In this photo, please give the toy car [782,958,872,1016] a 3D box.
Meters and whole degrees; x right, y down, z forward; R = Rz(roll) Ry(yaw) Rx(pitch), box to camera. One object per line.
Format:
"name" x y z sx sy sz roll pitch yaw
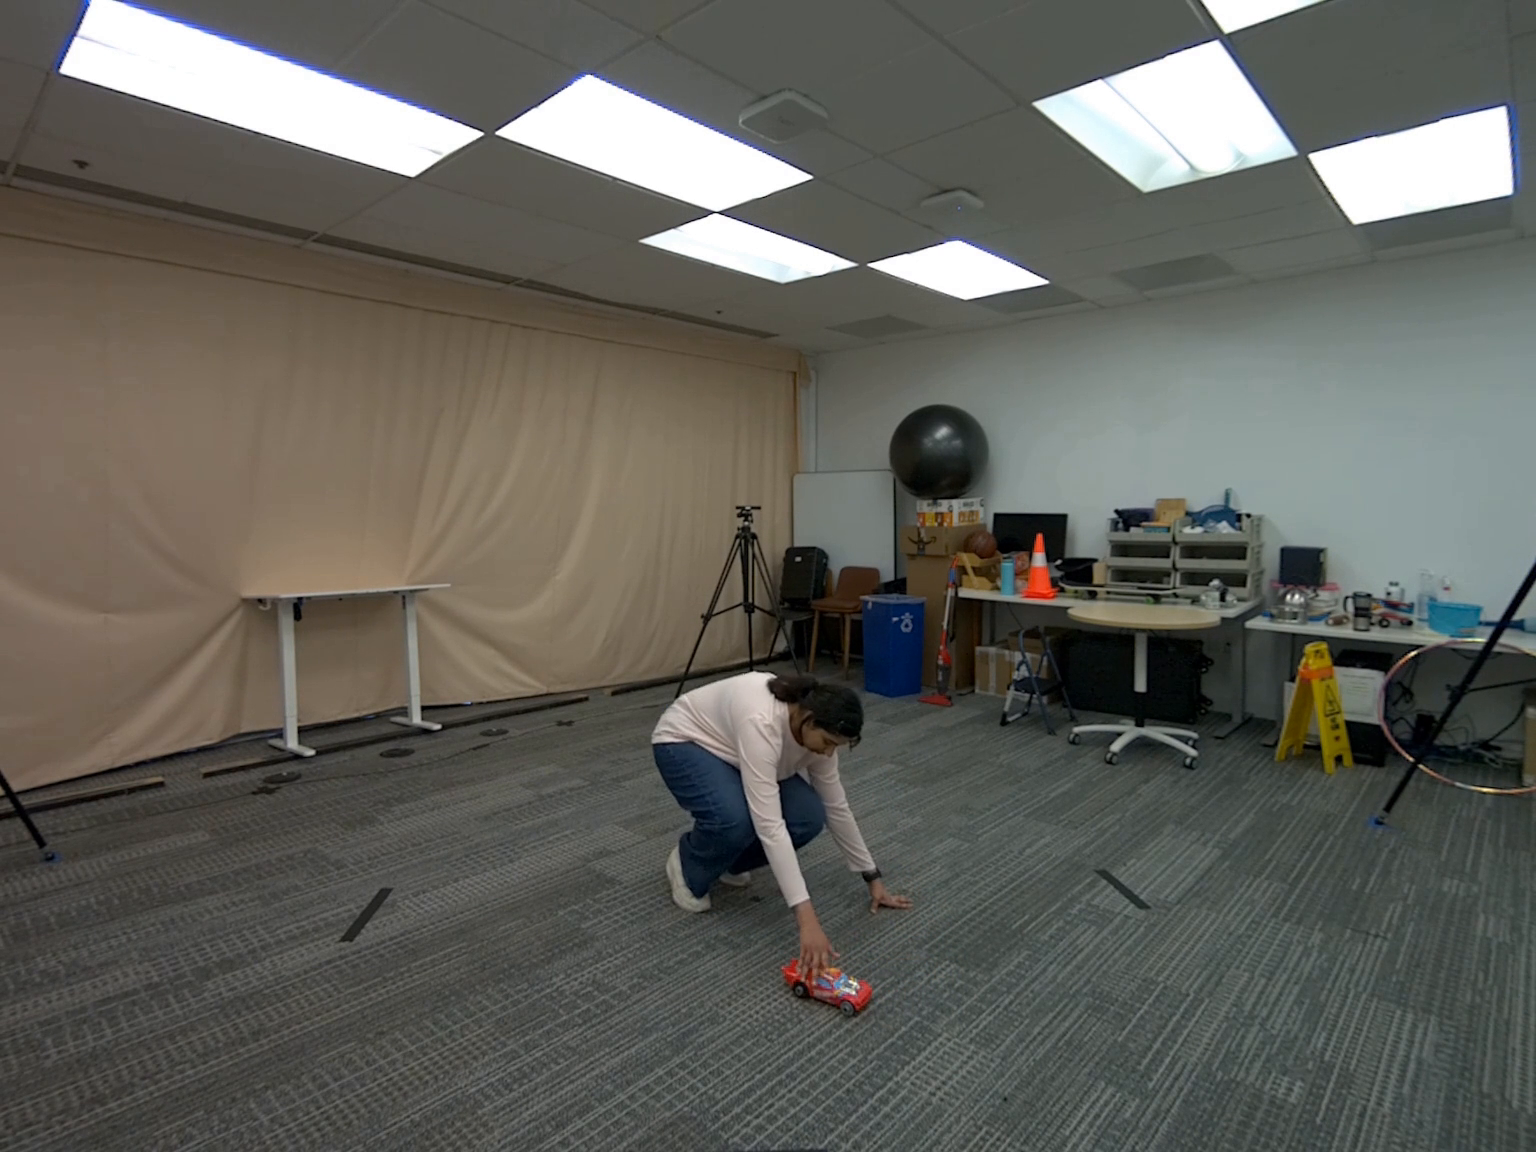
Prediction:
"toy car" 0.161 1.159 2.394 0.263 0.083 0.127 15 12 32
